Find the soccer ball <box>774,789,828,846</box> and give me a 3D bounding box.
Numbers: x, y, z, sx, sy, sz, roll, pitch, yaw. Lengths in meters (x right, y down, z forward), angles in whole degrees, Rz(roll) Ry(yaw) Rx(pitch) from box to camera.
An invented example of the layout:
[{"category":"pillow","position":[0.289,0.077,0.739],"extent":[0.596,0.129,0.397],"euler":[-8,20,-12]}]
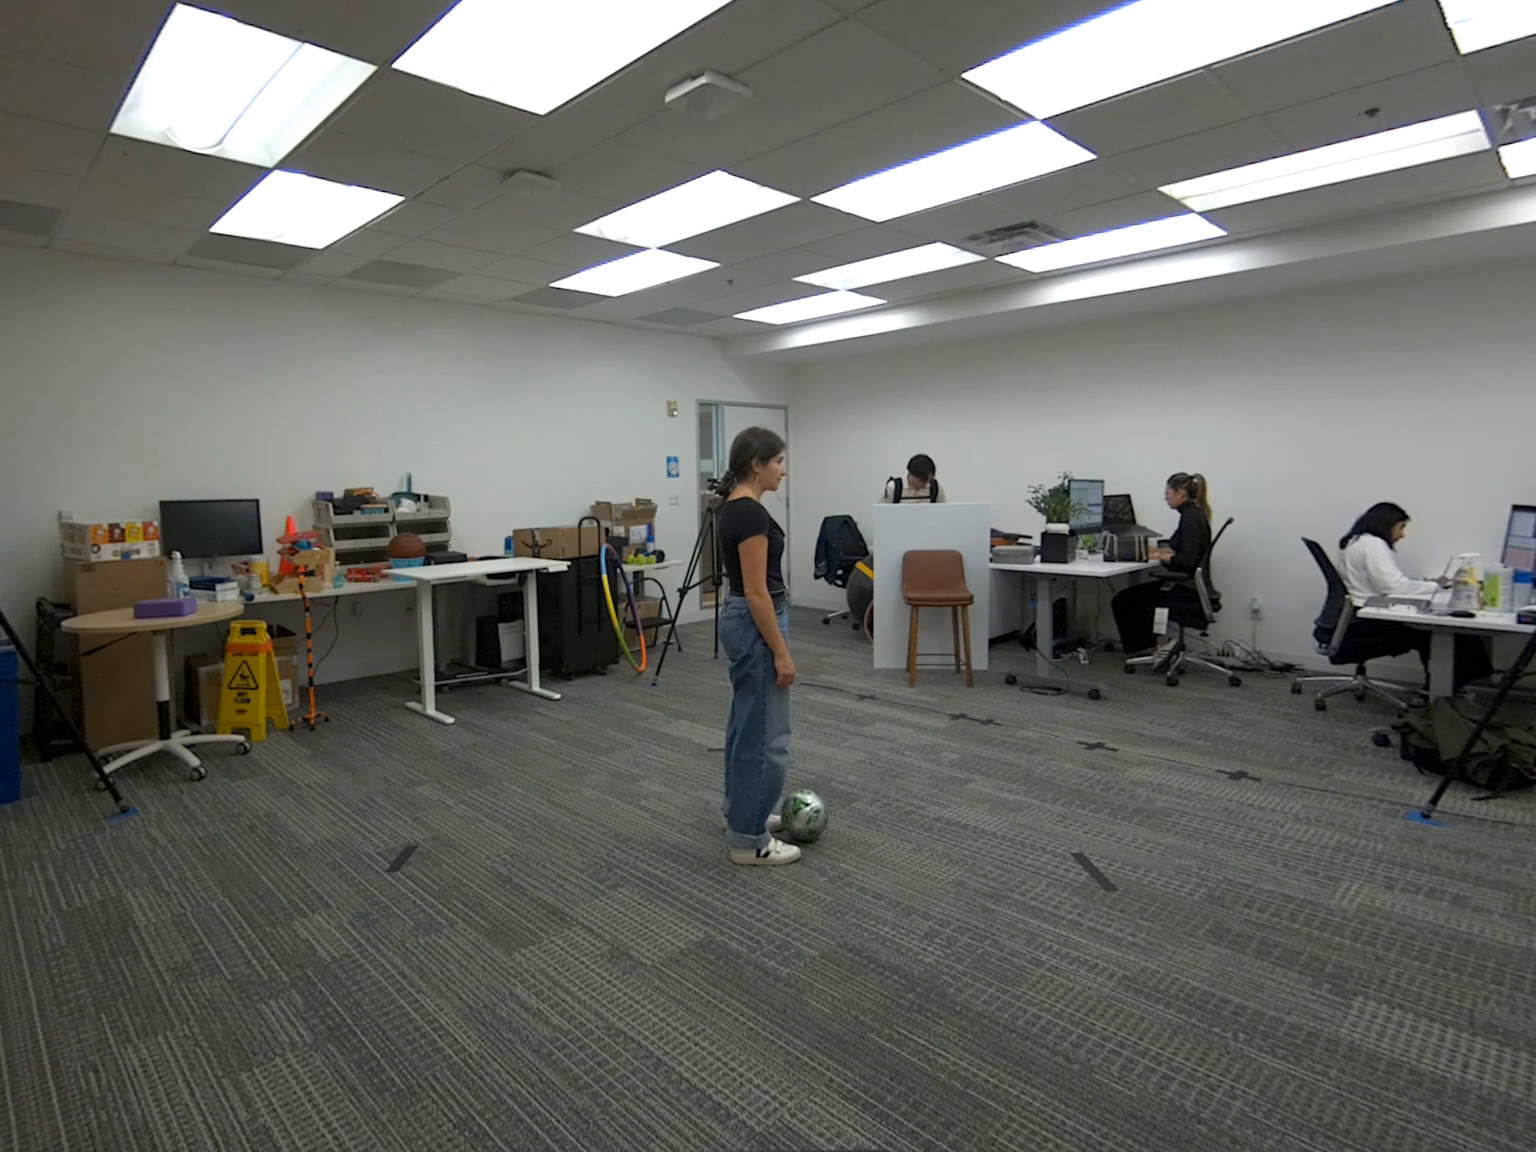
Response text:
[{"category":"soccer ball","position":[0.145,0.930,3.306],"extent":[0.187,0.187,0.188],"euler":[-1,5,-2]}]
